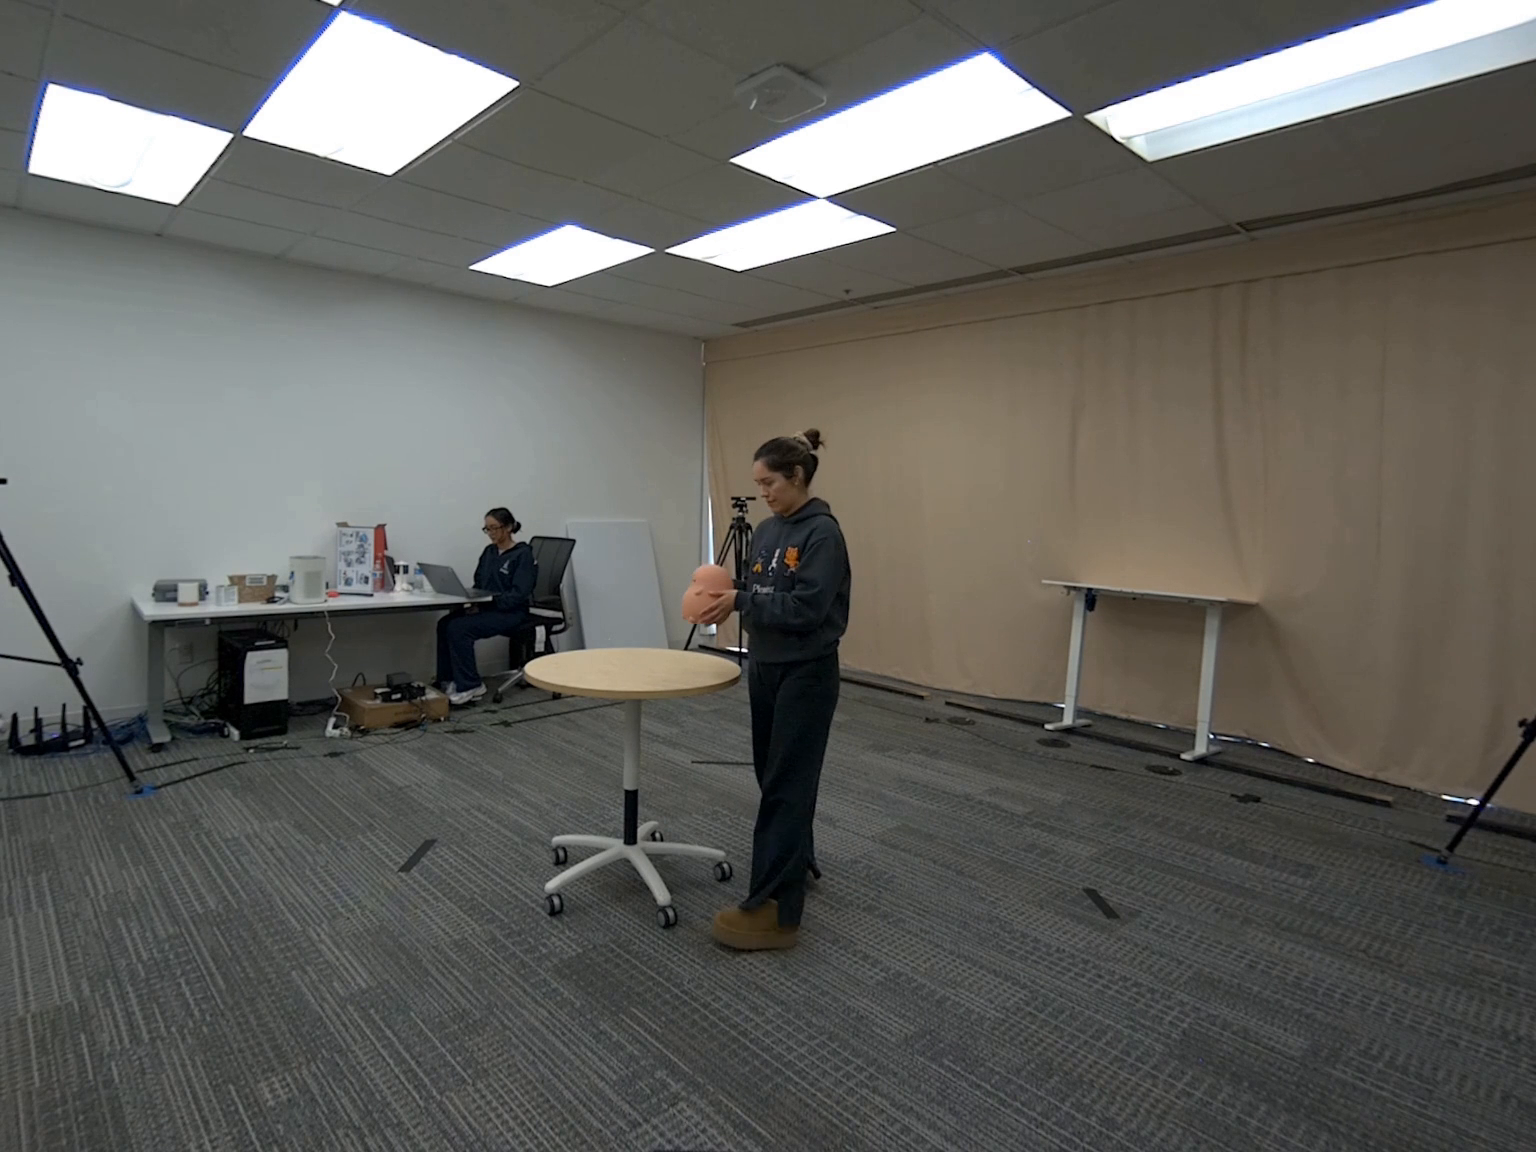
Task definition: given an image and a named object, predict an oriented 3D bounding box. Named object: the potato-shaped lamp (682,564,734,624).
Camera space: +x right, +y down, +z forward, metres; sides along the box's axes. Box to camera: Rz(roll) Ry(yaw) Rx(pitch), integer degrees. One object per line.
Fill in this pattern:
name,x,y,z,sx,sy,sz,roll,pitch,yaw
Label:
potato-shaped lamp,-0.203,0.059,2.808,0.169,0.198,0.167,3,2,-16
